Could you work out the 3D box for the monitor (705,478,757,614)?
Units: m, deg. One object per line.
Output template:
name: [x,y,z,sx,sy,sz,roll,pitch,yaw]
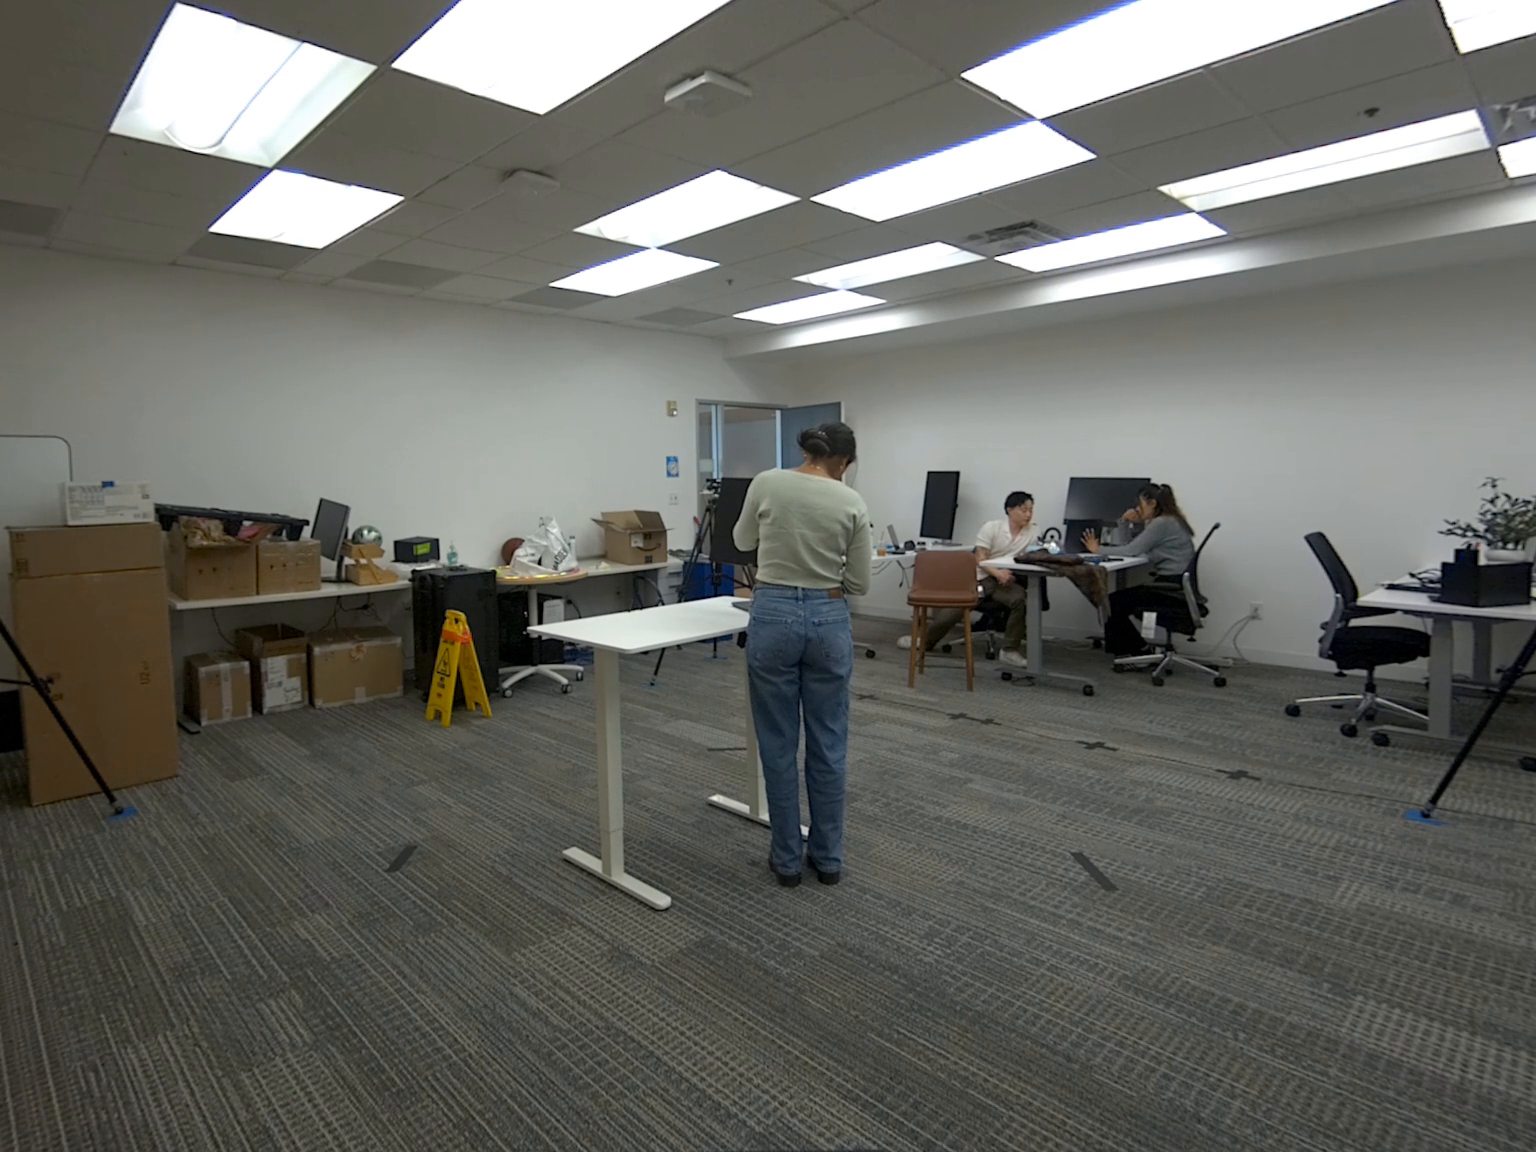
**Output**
monitor: [-0.005,-0.123,3.362,0.182,0.520,0.556,-4,7,-41]
